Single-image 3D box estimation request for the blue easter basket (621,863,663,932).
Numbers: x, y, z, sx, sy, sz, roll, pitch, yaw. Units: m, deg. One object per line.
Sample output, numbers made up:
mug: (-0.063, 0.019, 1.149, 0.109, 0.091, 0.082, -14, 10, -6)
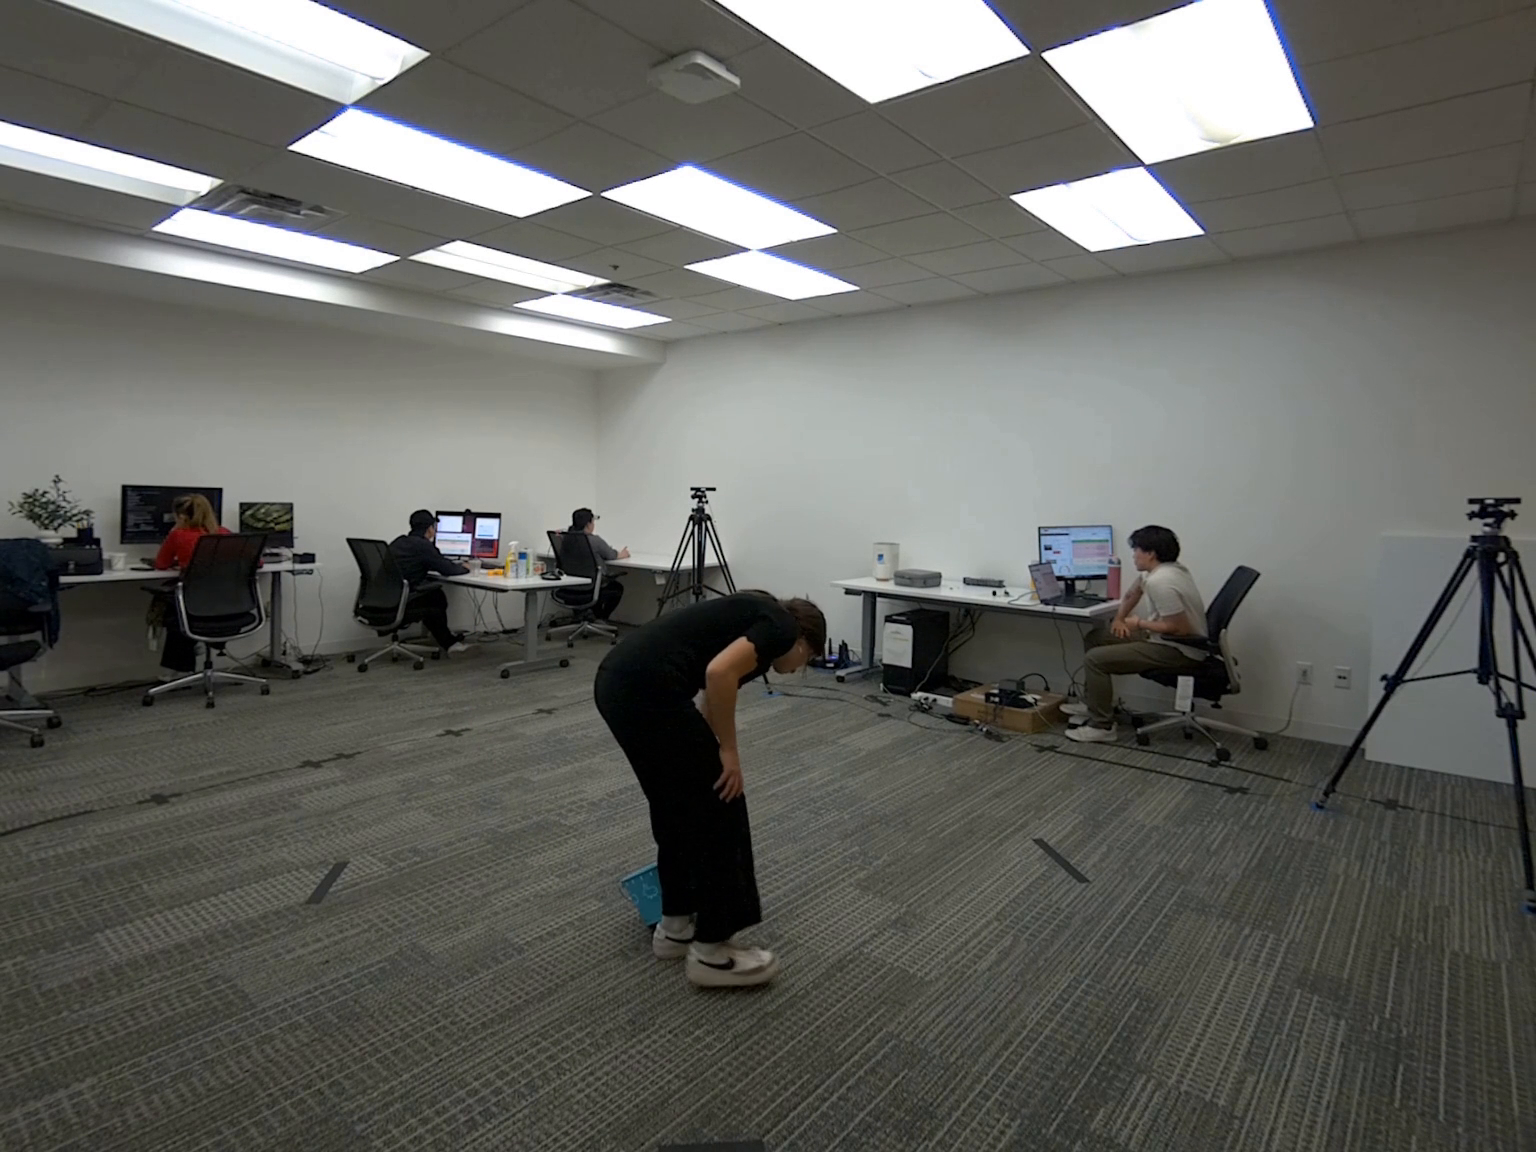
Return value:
blue easter basket: (-0.346, 0.989, 2.708, 0.242, 0.159, 0.240, -22, -14, -8)
